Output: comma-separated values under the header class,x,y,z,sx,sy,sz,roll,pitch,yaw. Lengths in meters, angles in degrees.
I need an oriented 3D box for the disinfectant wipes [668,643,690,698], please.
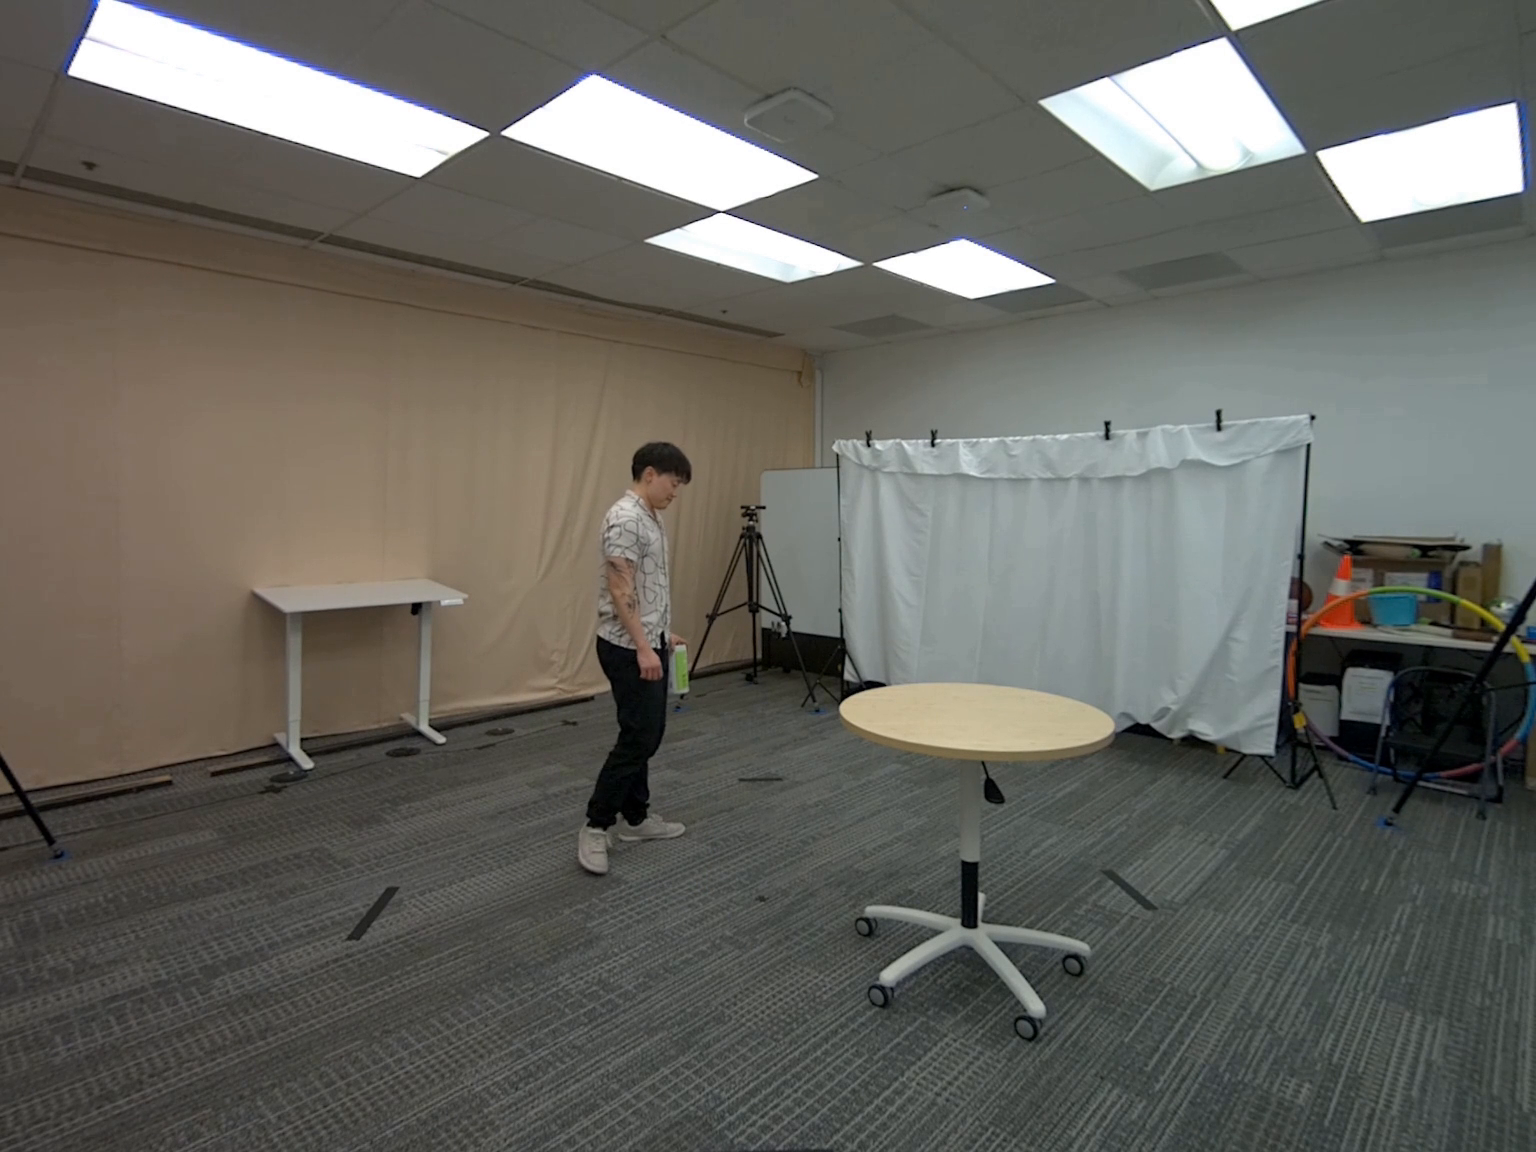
class,x,y,z,sx,sy,sz,roll,pitch,yaw
disinfectant wipes,-0.423,0.416,3.769,0.118,0.217,0.118,-3,2,-2
